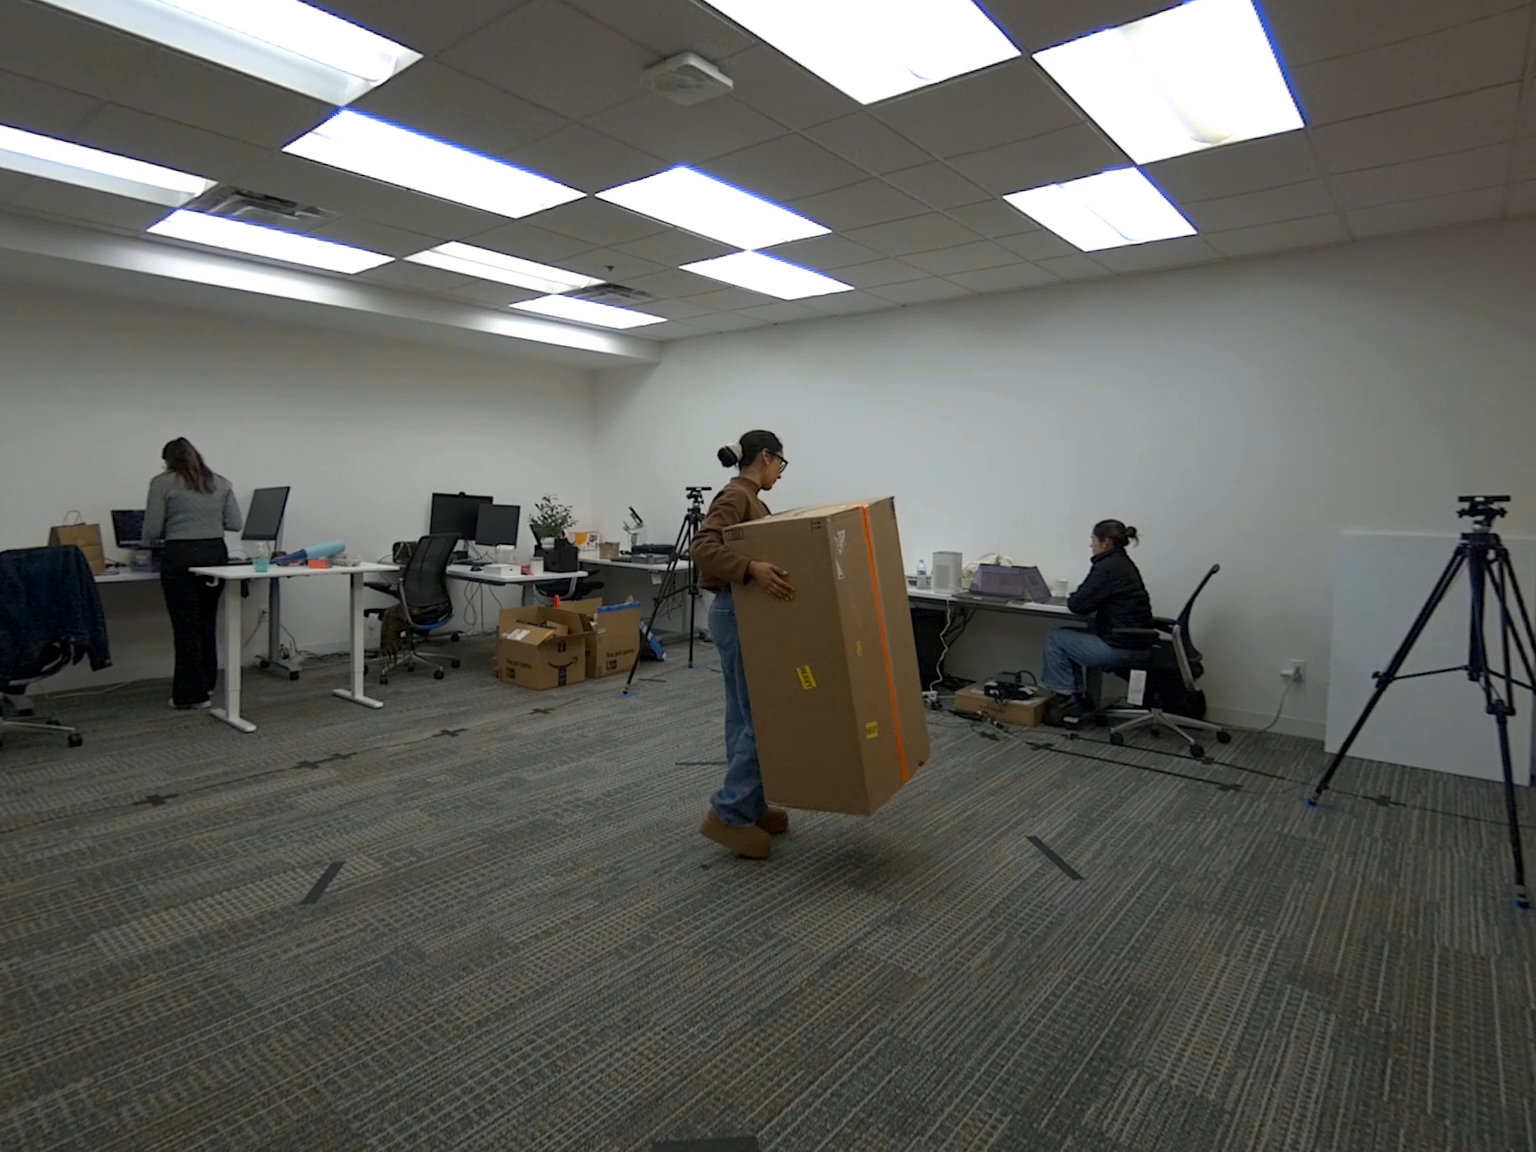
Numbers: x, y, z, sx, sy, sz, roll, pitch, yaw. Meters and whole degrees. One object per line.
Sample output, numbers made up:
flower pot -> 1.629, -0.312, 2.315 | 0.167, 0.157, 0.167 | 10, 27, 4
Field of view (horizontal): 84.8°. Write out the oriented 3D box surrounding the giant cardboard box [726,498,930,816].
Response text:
giant cardboard box -> 0.234, 0.276, 3.150 | 0.438, 1.021, 0.565 | -5, 5, 34
